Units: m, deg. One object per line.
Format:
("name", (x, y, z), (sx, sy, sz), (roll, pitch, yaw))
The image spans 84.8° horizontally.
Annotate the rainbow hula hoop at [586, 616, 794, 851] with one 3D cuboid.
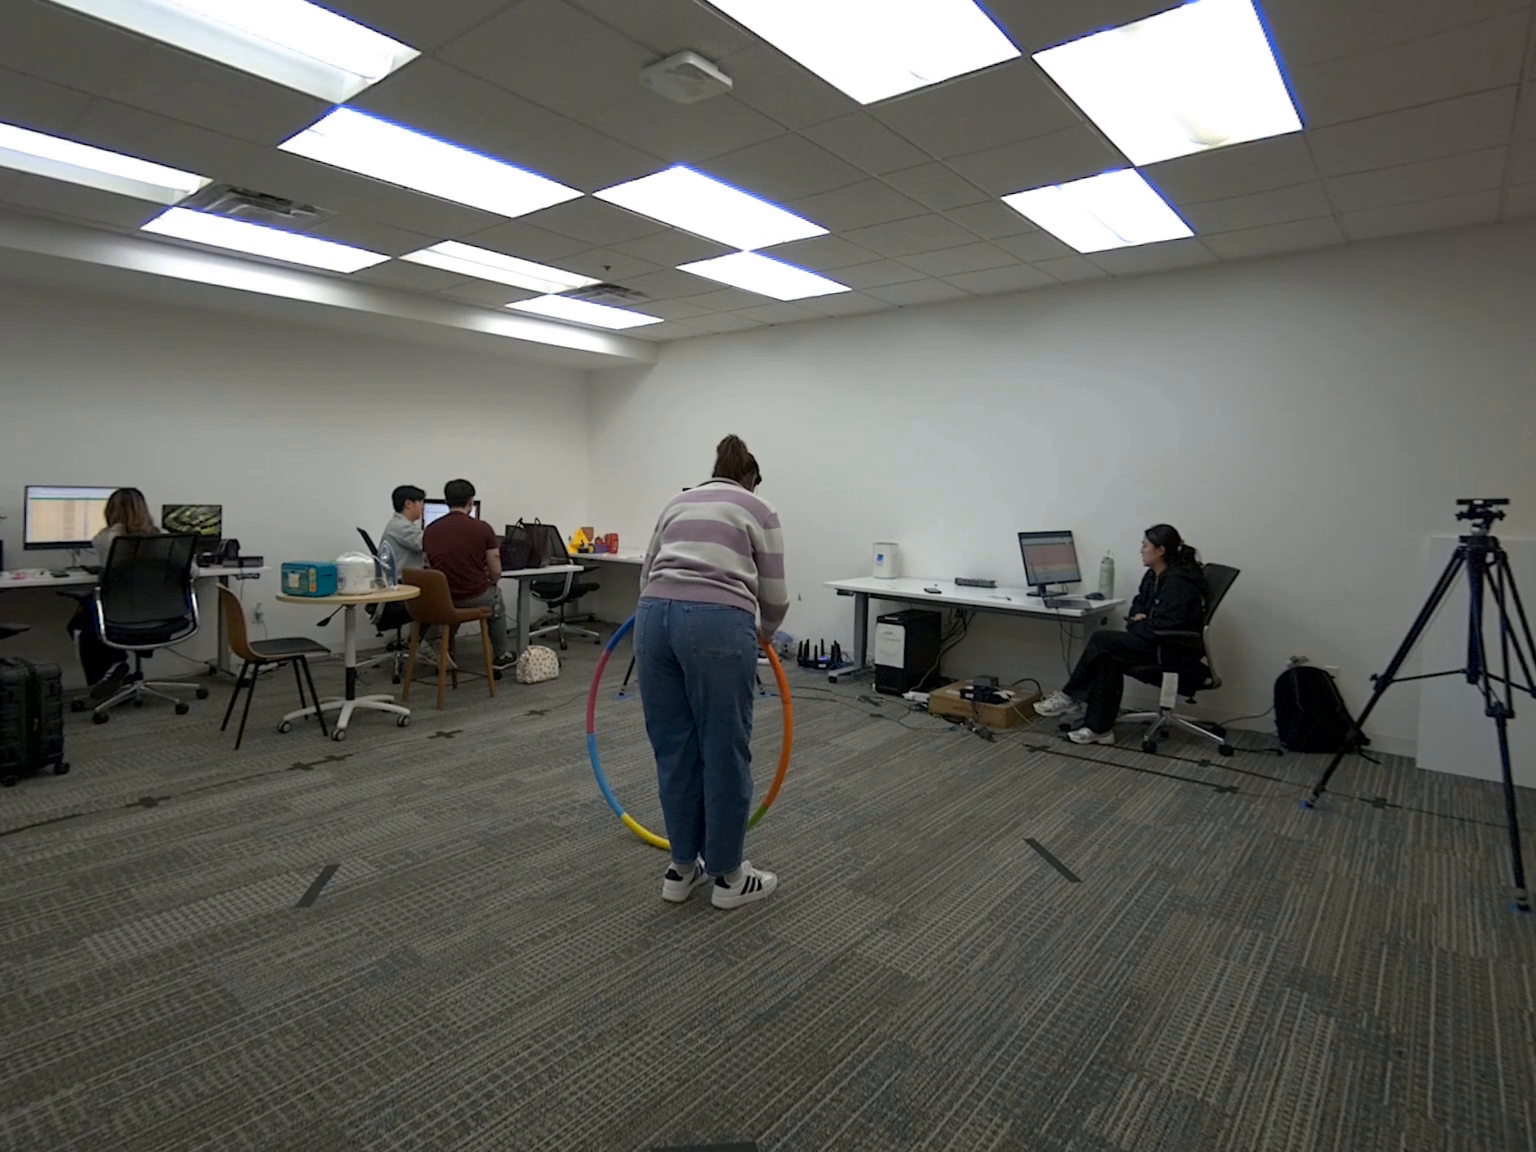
("rainbow hula hoop", (-0.349, 0.564, 3.326), (1.016, 0.990, 0.050), (4, -6, 33))
